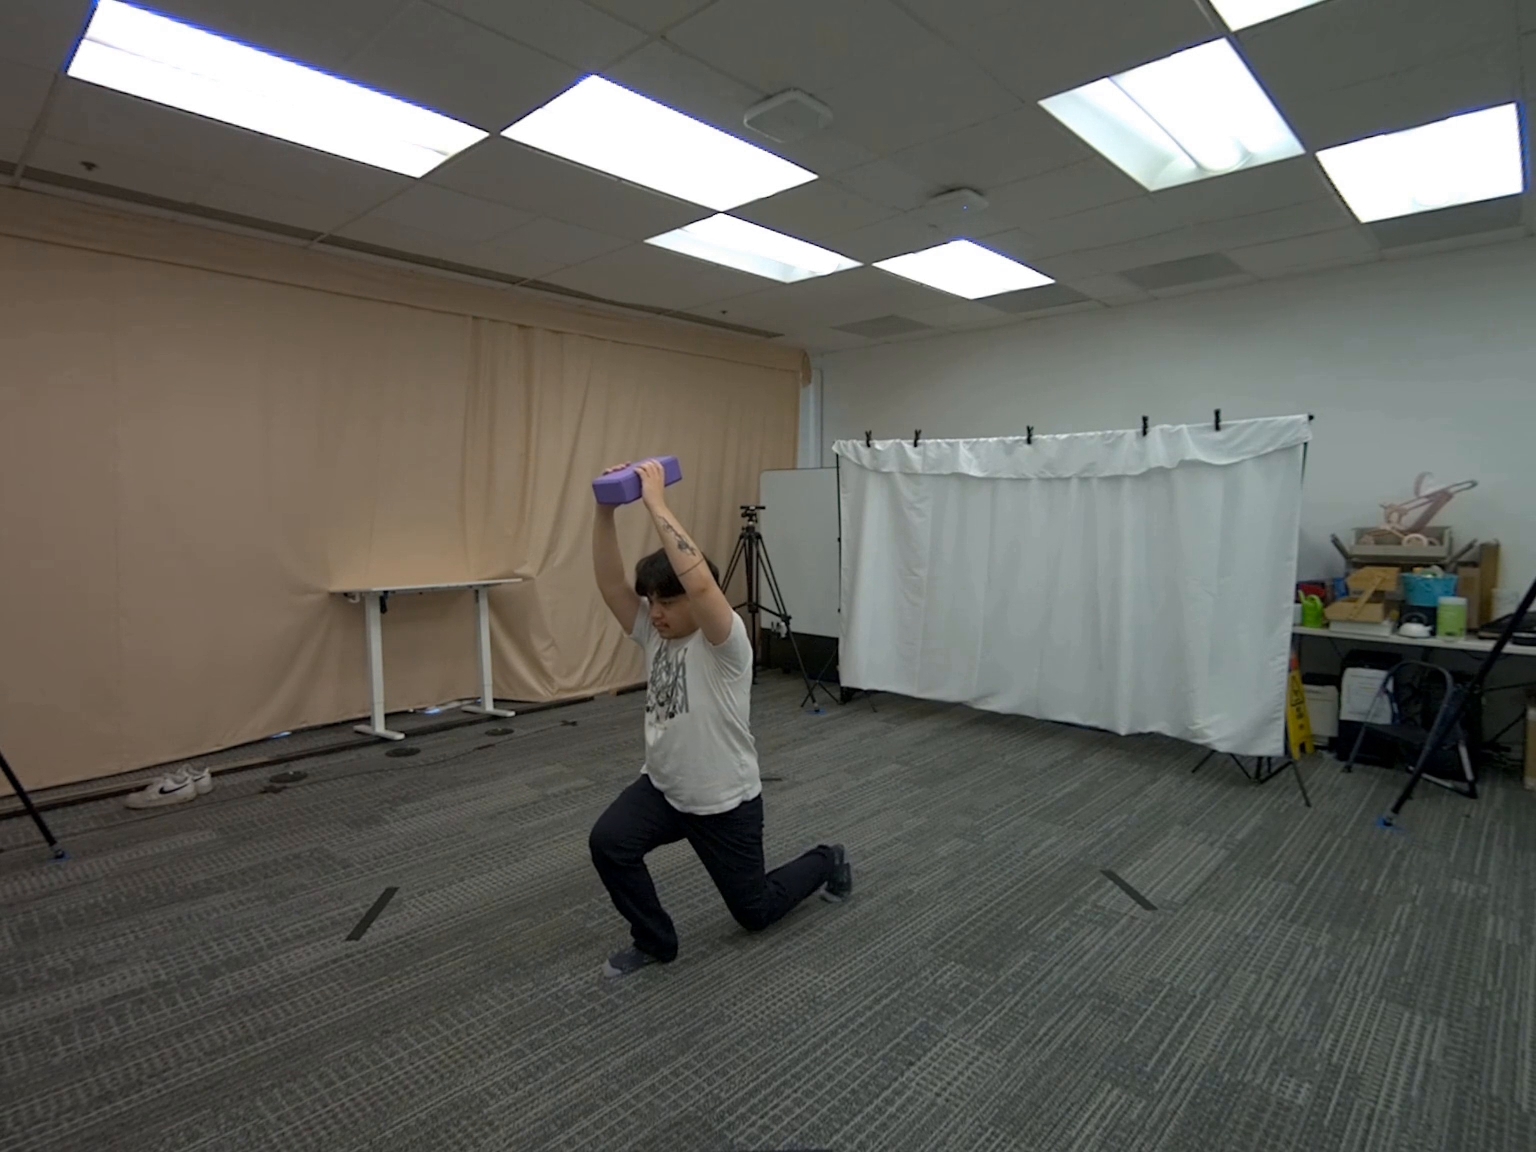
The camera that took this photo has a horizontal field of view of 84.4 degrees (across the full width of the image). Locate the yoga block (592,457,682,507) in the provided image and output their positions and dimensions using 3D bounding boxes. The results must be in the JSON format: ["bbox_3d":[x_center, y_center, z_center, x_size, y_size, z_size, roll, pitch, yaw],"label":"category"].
[{"bbox_3d":[-0.386,-0.294,2.470,0.154,0.075,0.225,3,24,46],"label":"yoga block"}]
